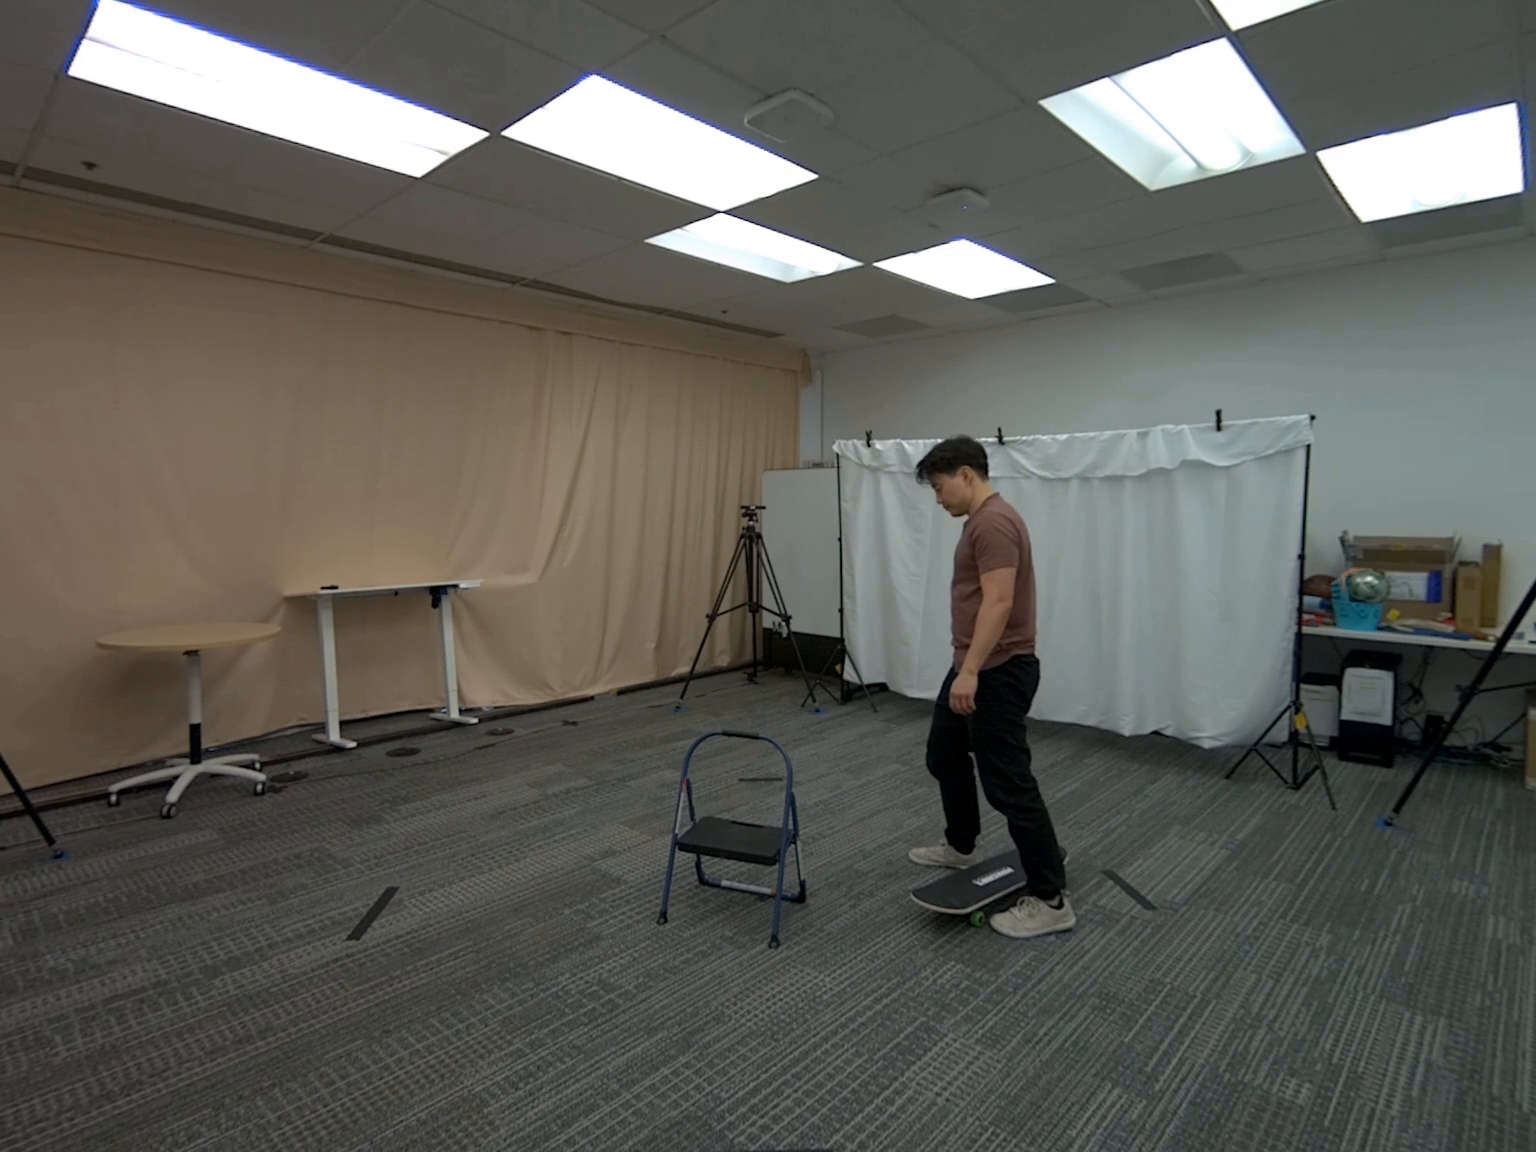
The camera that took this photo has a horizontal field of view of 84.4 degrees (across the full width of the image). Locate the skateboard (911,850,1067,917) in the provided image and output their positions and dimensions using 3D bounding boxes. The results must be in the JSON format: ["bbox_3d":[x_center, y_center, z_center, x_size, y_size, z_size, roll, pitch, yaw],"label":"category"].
[{"bbox_3d":[0.796,1.093,2.956,0.762,0.110,0.200,-4,6,-37],"label":"skateboard"}]
